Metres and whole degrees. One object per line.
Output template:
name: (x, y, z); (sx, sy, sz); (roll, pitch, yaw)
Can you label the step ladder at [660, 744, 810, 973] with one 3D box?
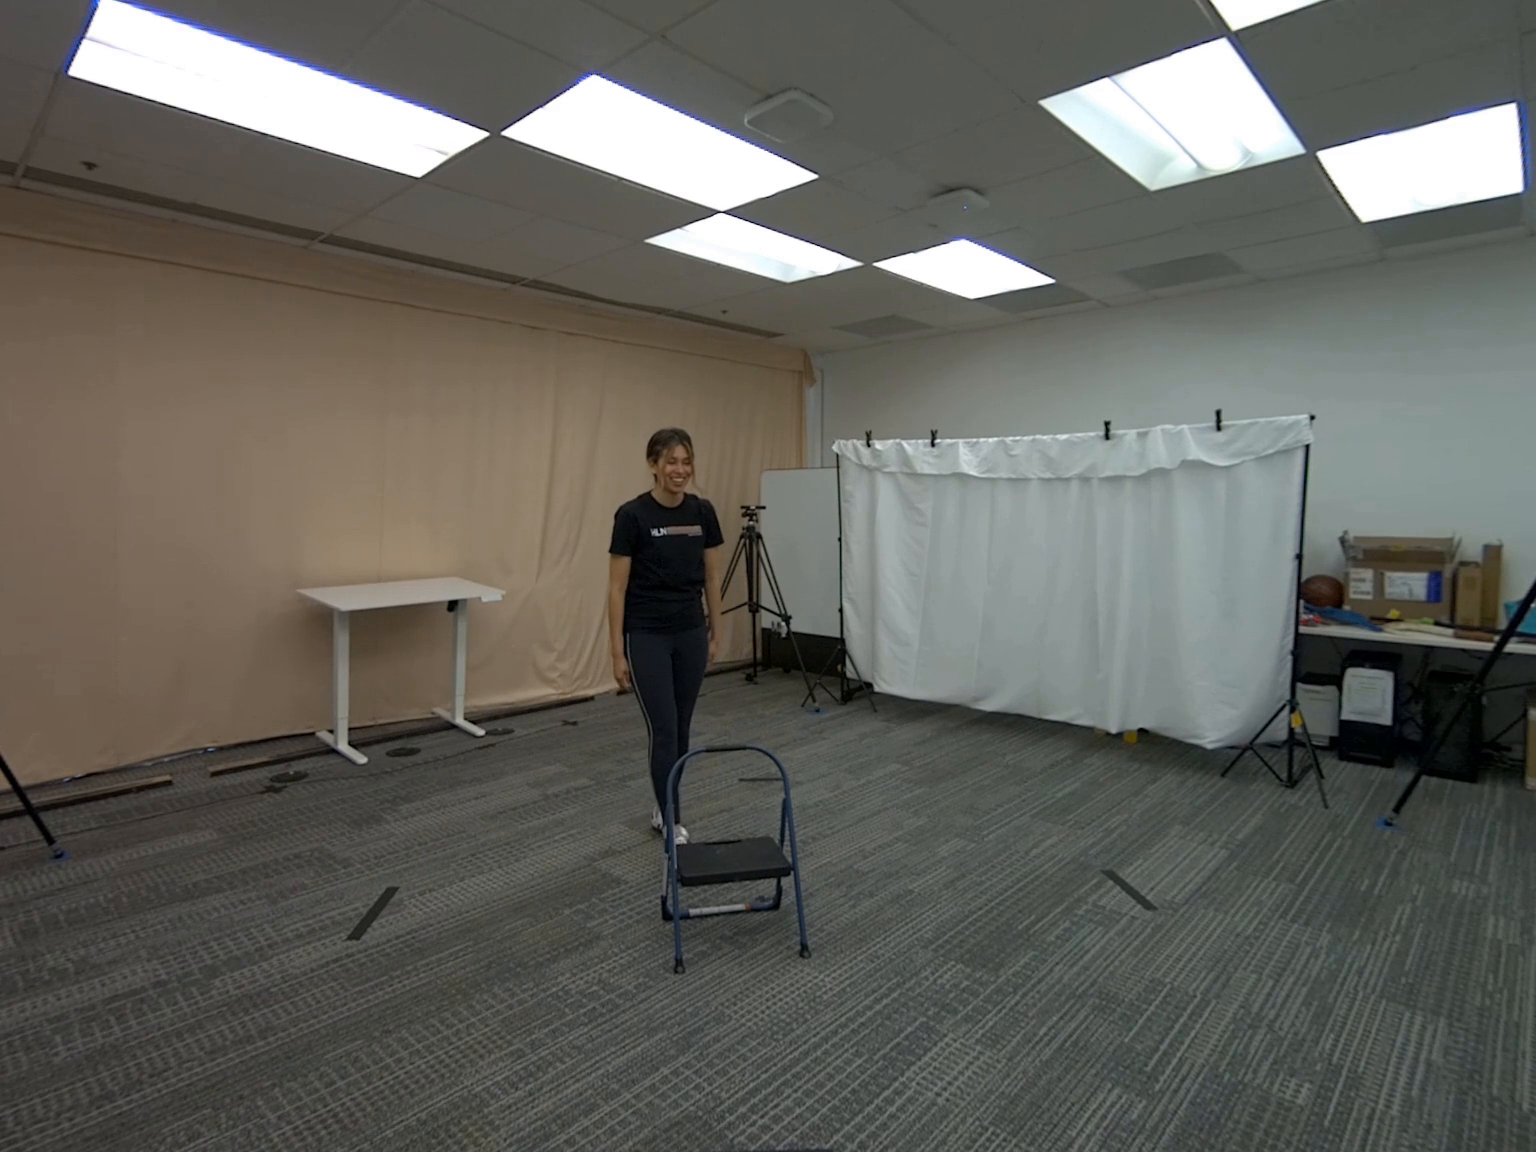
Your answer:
step ladder: (-0.111, 0.871, 2.699); (0.425, 0.604, 0.355); (-1, 4, -14)
